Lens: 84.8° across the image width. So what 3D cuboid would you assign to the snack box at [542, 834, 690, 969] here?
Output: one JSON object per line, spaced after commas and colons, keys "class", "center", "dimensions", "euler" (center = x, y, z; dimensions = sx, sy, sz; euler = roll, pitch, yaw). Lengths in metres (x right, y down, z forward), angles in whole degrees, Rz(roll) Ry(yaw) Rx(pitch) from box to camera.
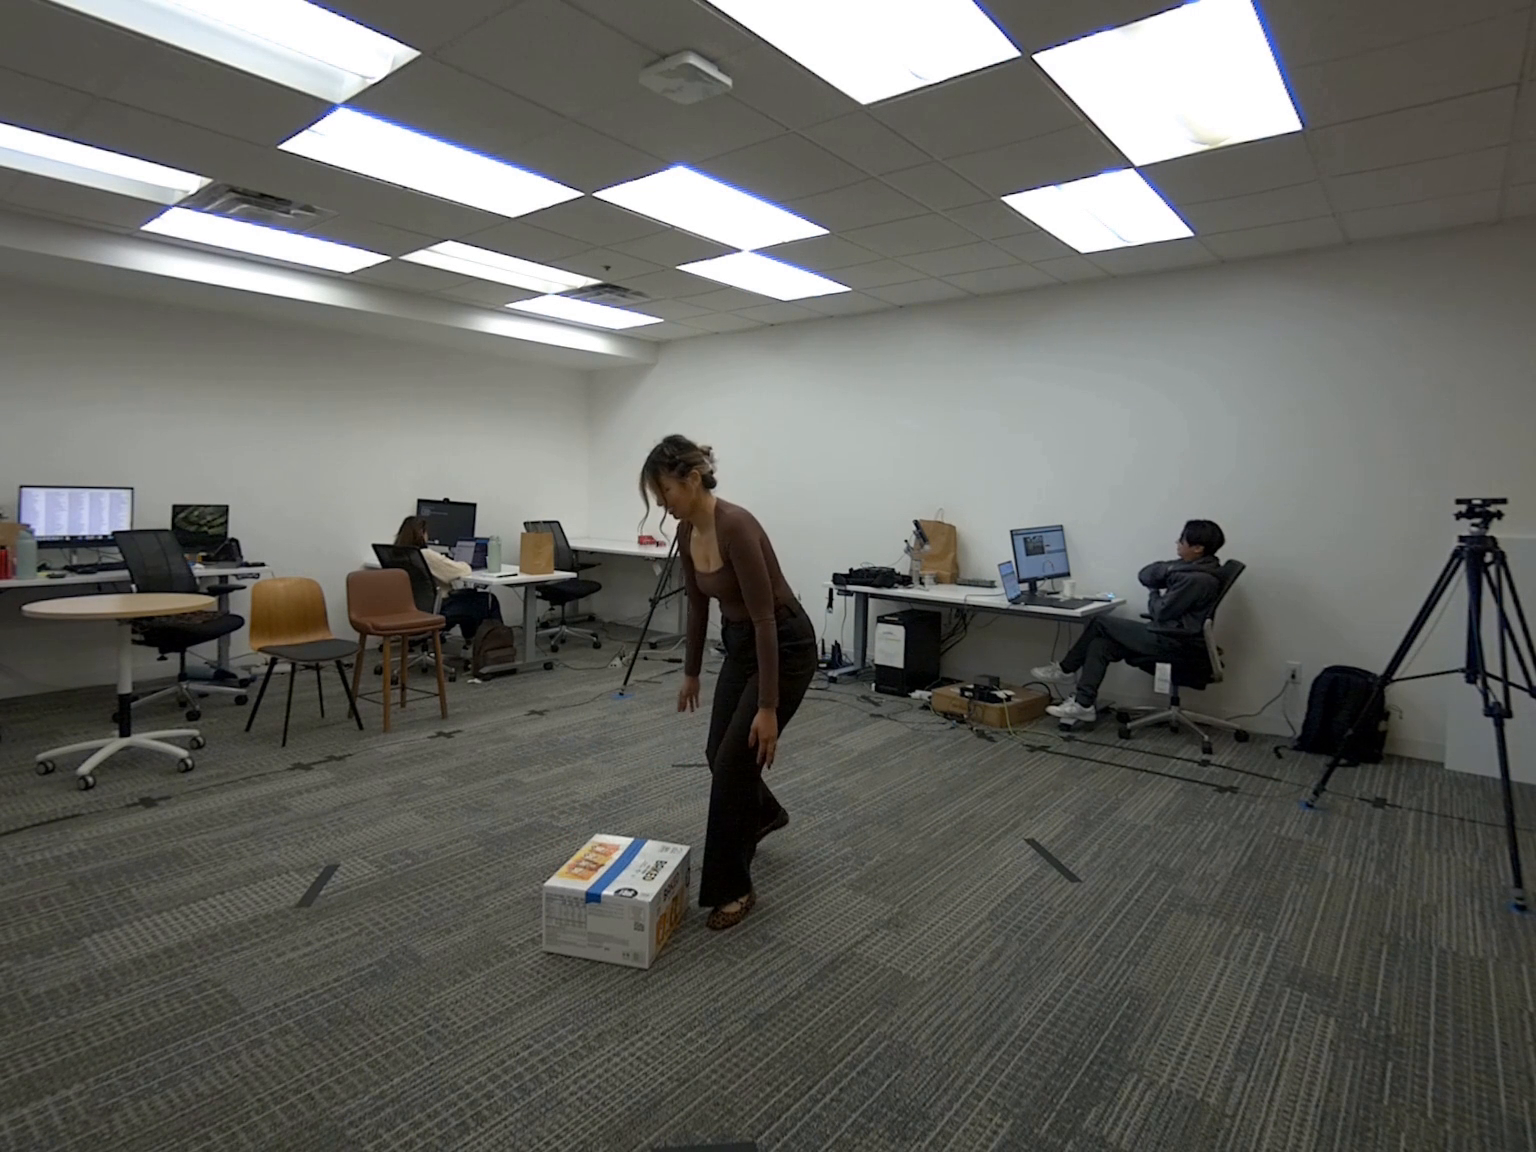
{"class": "snack box", "center": [-0.473, 1.005, 2.670], "dimensions": [0.346, 0.205, 0.400], "euler": [2, 5, 14]}
